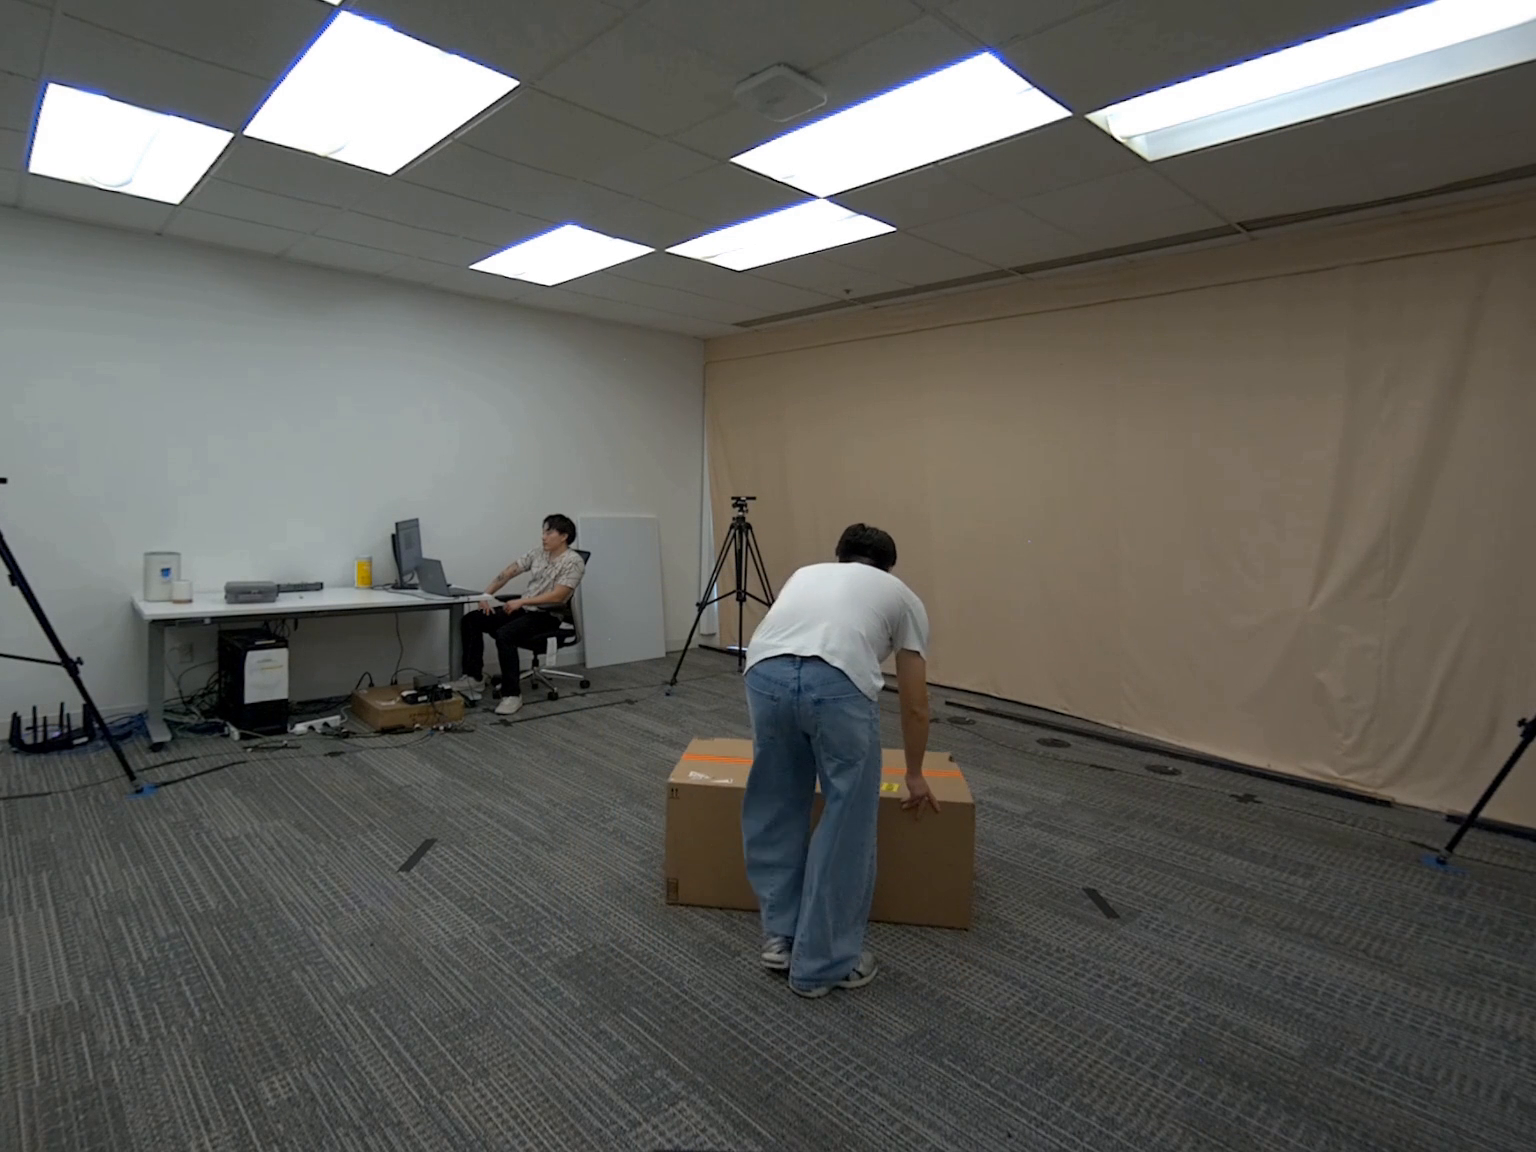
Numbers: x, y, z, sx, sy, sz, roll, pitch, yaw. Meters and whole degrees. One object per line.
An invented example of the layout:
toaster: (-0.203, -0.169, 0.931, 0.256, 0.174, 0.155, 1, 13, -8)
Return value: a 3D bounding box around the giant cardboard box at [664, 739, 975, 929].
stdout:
giant cardboard box: (0.174, 0.900, 3.085, 1.031, 0.425, 0.576, 2, 5, 6)
